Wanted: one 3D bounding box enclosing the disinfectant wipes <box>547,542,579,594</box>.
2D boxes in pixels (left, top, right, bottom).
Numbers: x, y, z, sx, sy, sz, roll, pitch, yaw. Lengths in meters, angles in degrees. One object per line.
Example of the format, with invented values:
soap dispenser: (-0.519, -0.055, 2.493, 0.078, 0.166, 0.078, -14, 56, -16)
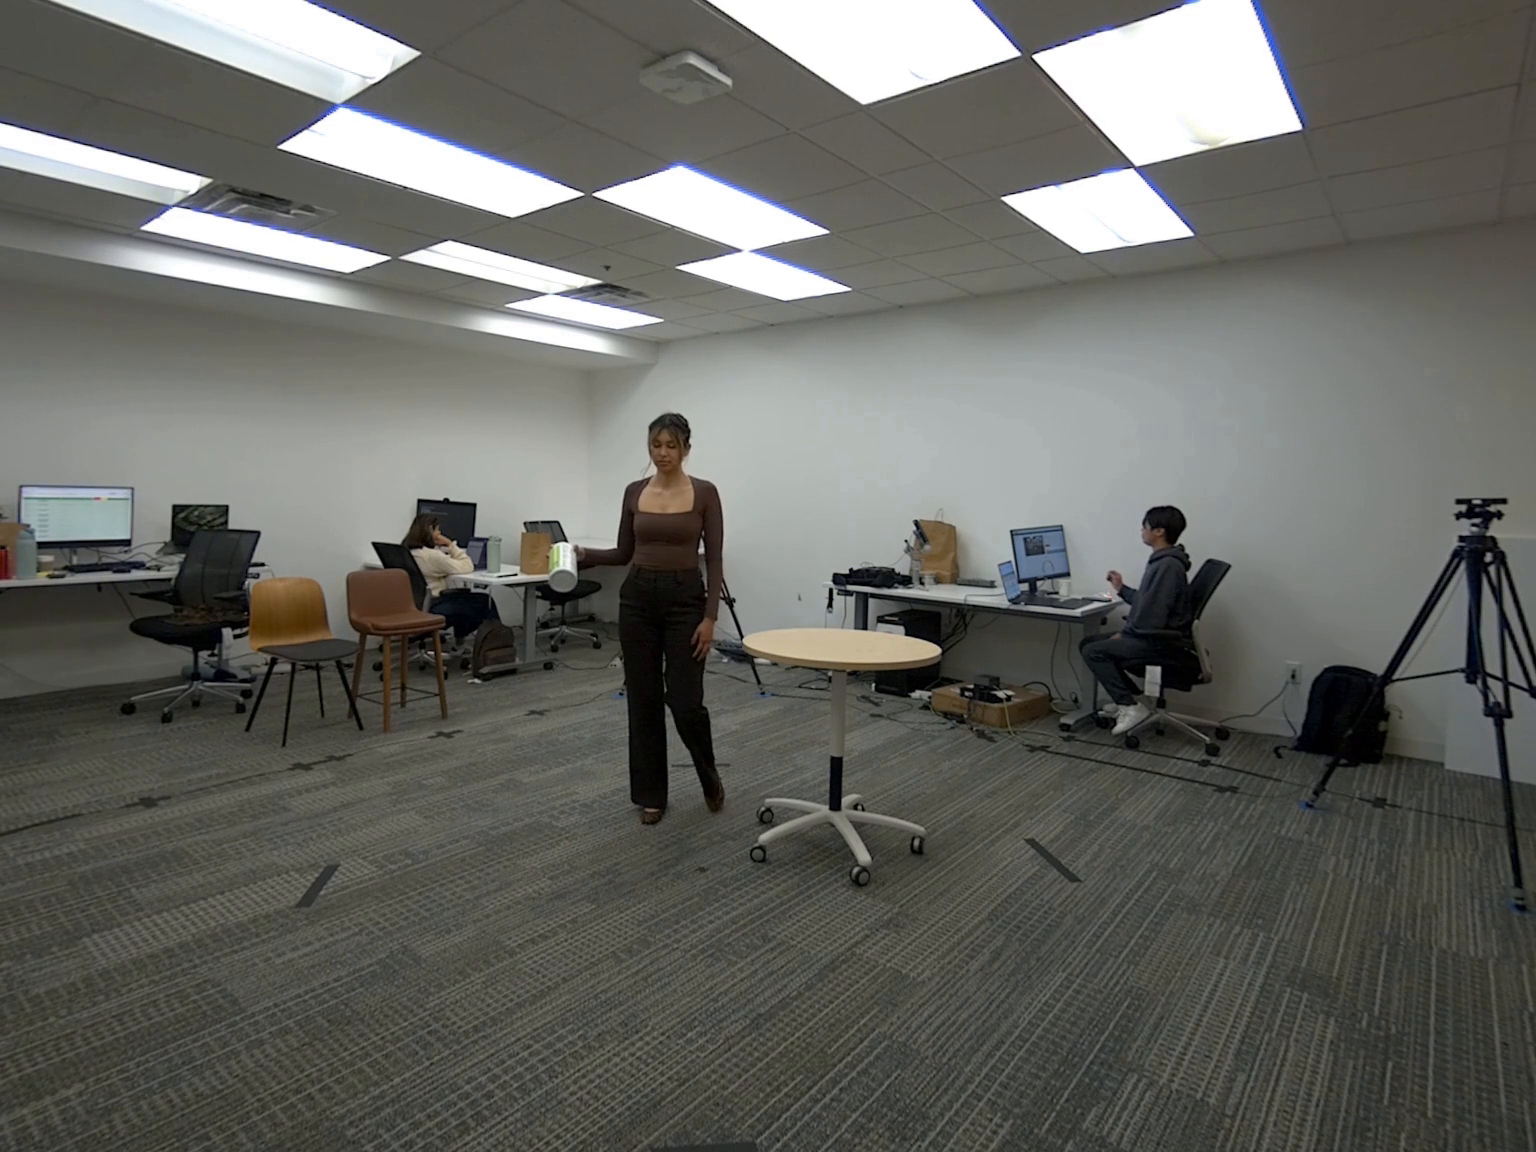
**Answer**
disinfectant wipes: (-0.816, -0.038, 3.367, 0.116, 0.115, 0.225, 0, 32, -11)
